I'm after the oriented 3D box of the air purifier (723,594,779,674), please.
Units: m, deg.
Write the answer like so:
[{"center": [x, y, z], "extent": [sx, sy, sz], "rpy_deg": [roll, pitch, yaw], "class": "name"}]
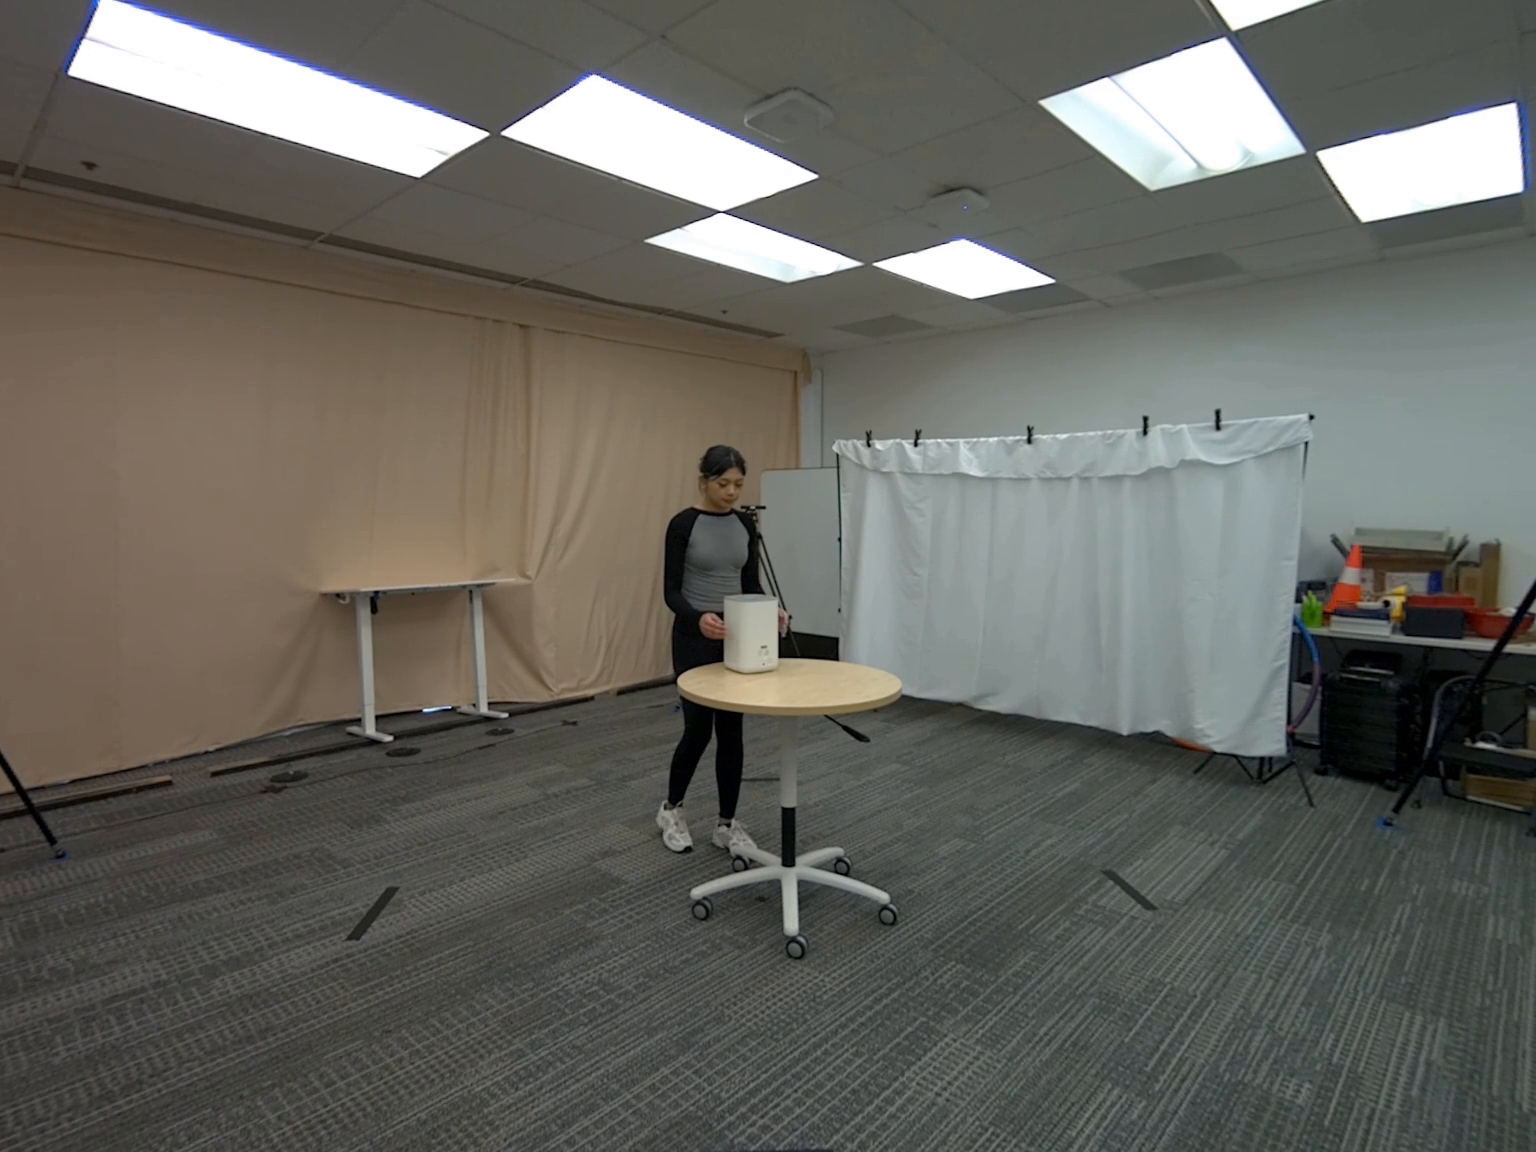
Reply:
[{"center": [-0.058, 0.209, 3.065], "extent": [0.167, 0.265, 0.176], "rpy_deg": [0, 5, -30], "class": "air purifier"}]
